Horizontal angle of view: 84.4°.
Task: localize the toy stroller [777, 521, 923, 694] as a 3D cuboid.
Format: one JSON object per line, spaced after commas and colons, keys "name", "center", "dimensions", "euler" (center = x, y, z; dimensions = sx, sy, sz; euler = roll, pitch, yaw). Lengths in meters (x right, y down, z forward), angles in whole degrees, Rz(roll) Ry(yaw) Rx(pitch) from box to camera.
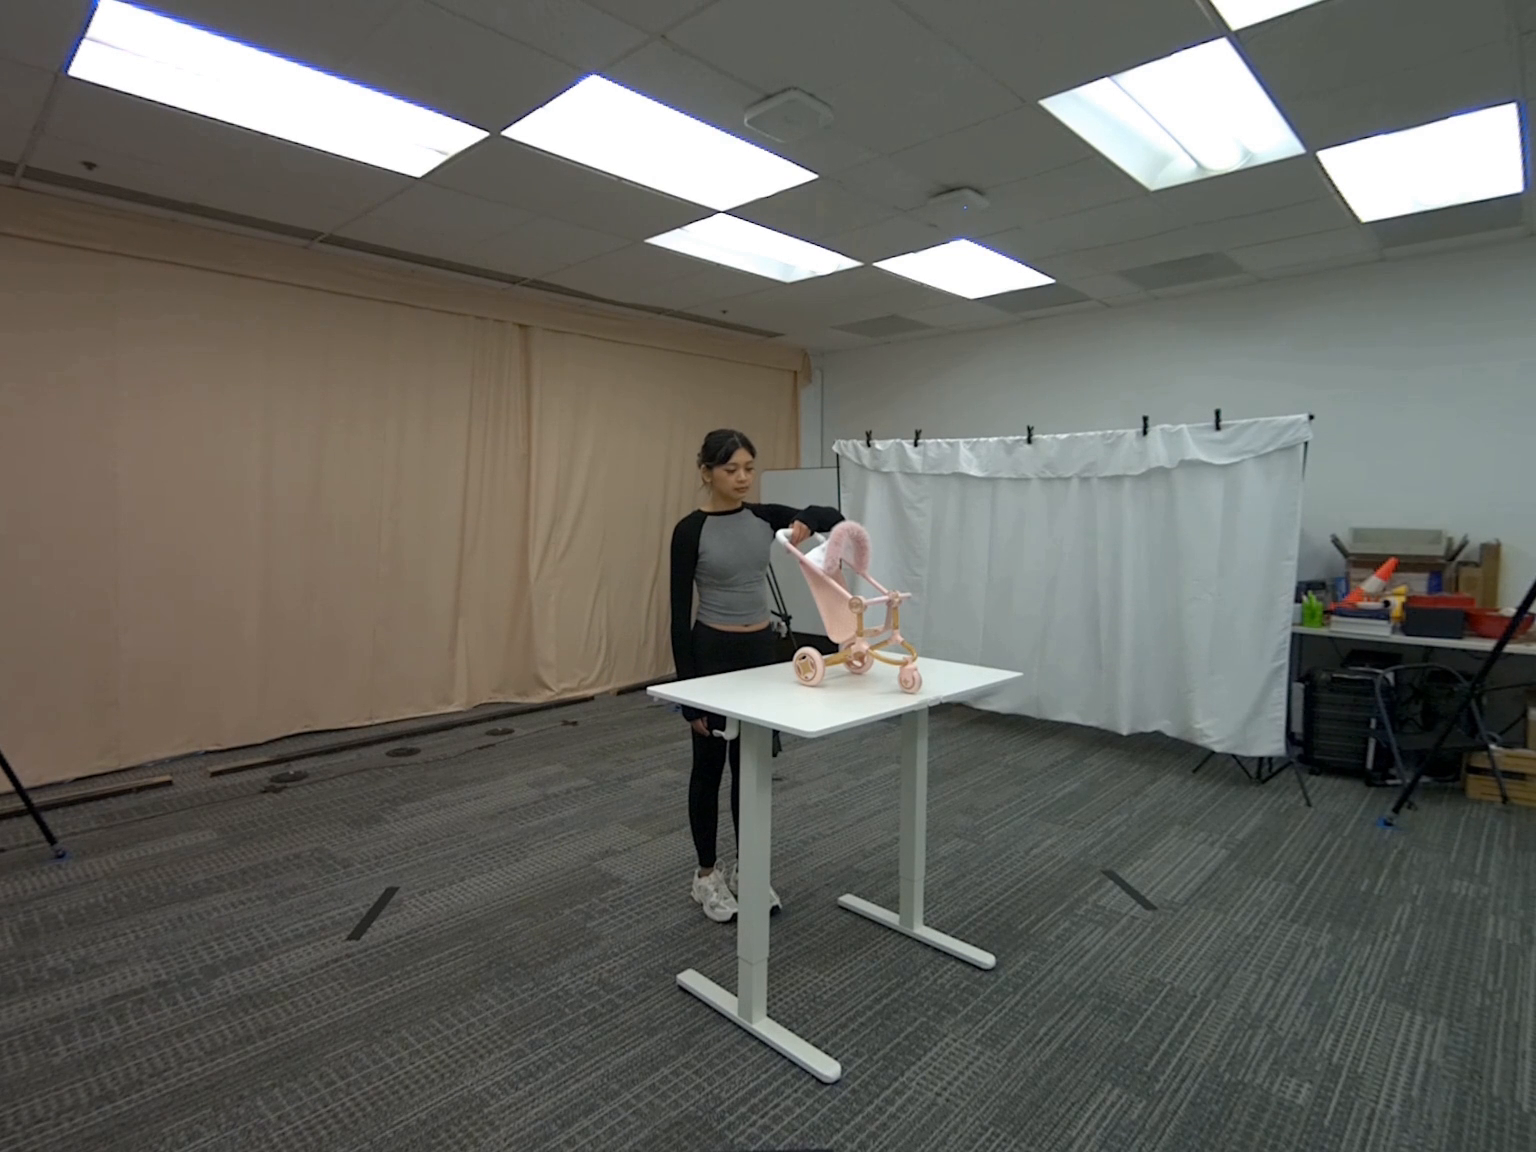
{"name": "toy stroller", "center": [0.245, 0.086, 2.402], "dimensions": [0.273, 0.538, 0.350], "euler": [-4, -9, -44]}
